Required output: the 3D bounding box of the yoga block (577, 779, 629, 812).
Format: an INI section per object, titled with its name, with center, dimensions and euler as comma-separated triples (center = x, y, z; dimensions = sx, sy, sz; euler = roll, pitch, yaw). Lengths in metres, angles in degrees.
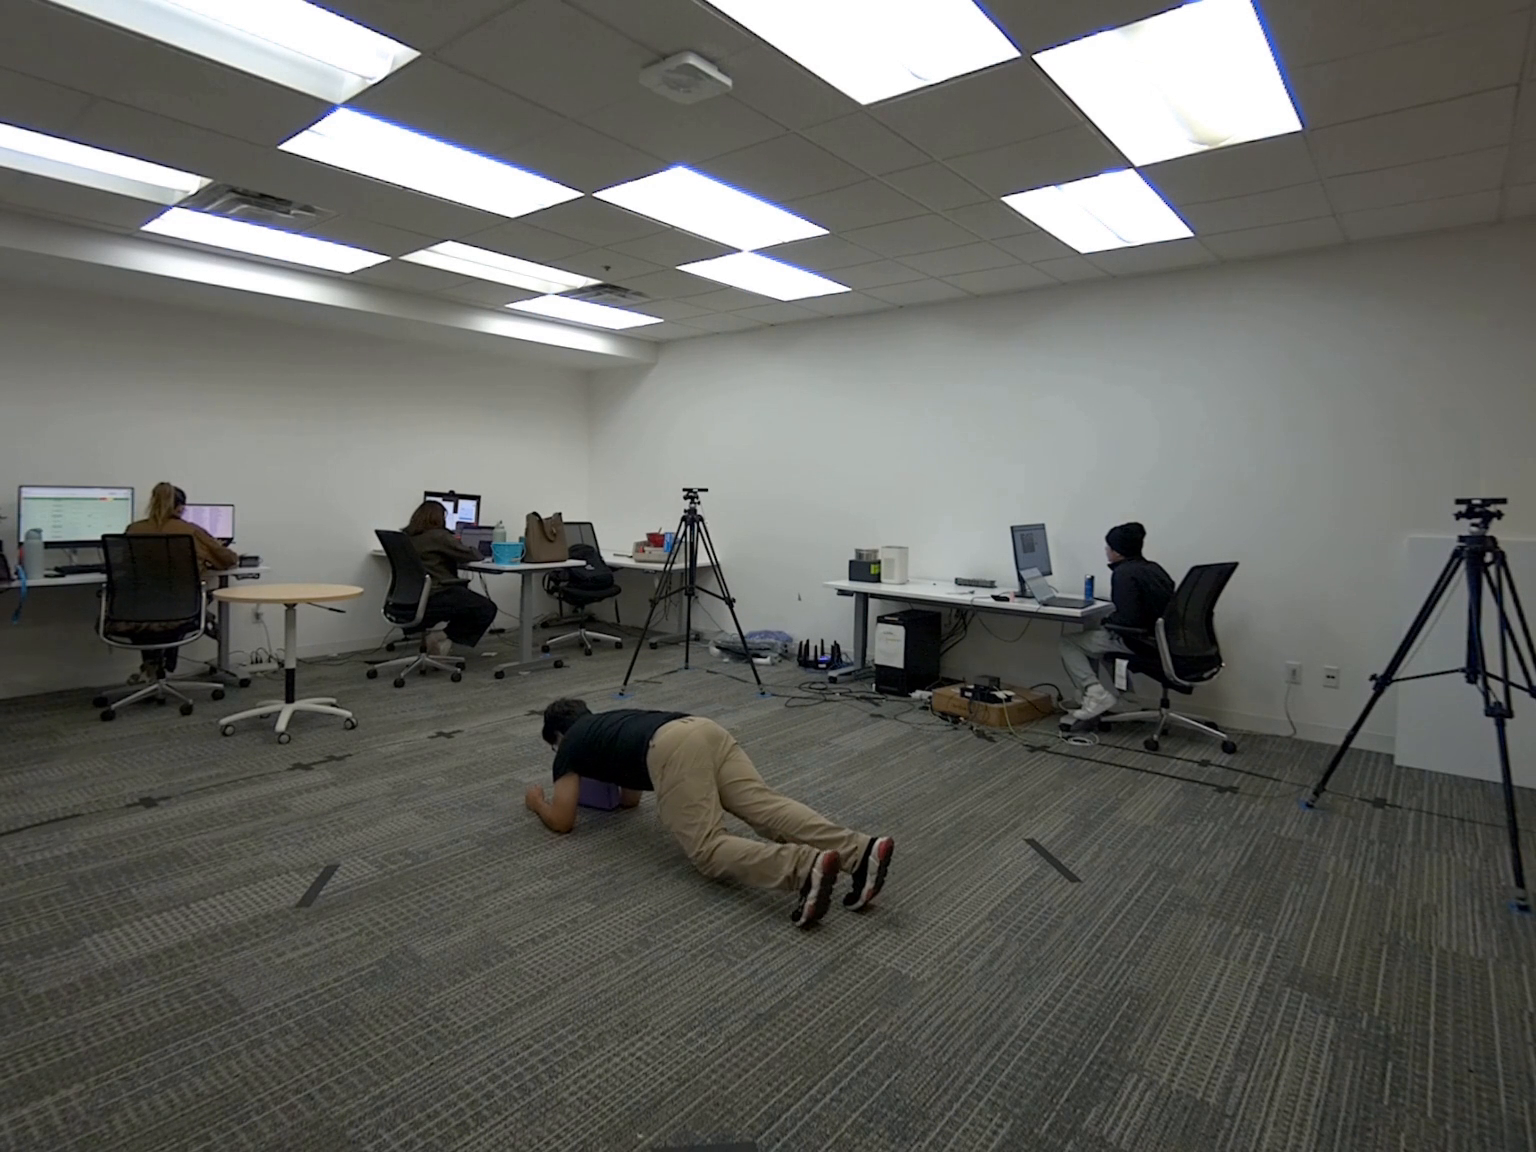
[yoga block]
center = -0.770, 0.919, 3.716
dimensions = 0.236, 0.148, 0.074
euler = 3, 6, 30
